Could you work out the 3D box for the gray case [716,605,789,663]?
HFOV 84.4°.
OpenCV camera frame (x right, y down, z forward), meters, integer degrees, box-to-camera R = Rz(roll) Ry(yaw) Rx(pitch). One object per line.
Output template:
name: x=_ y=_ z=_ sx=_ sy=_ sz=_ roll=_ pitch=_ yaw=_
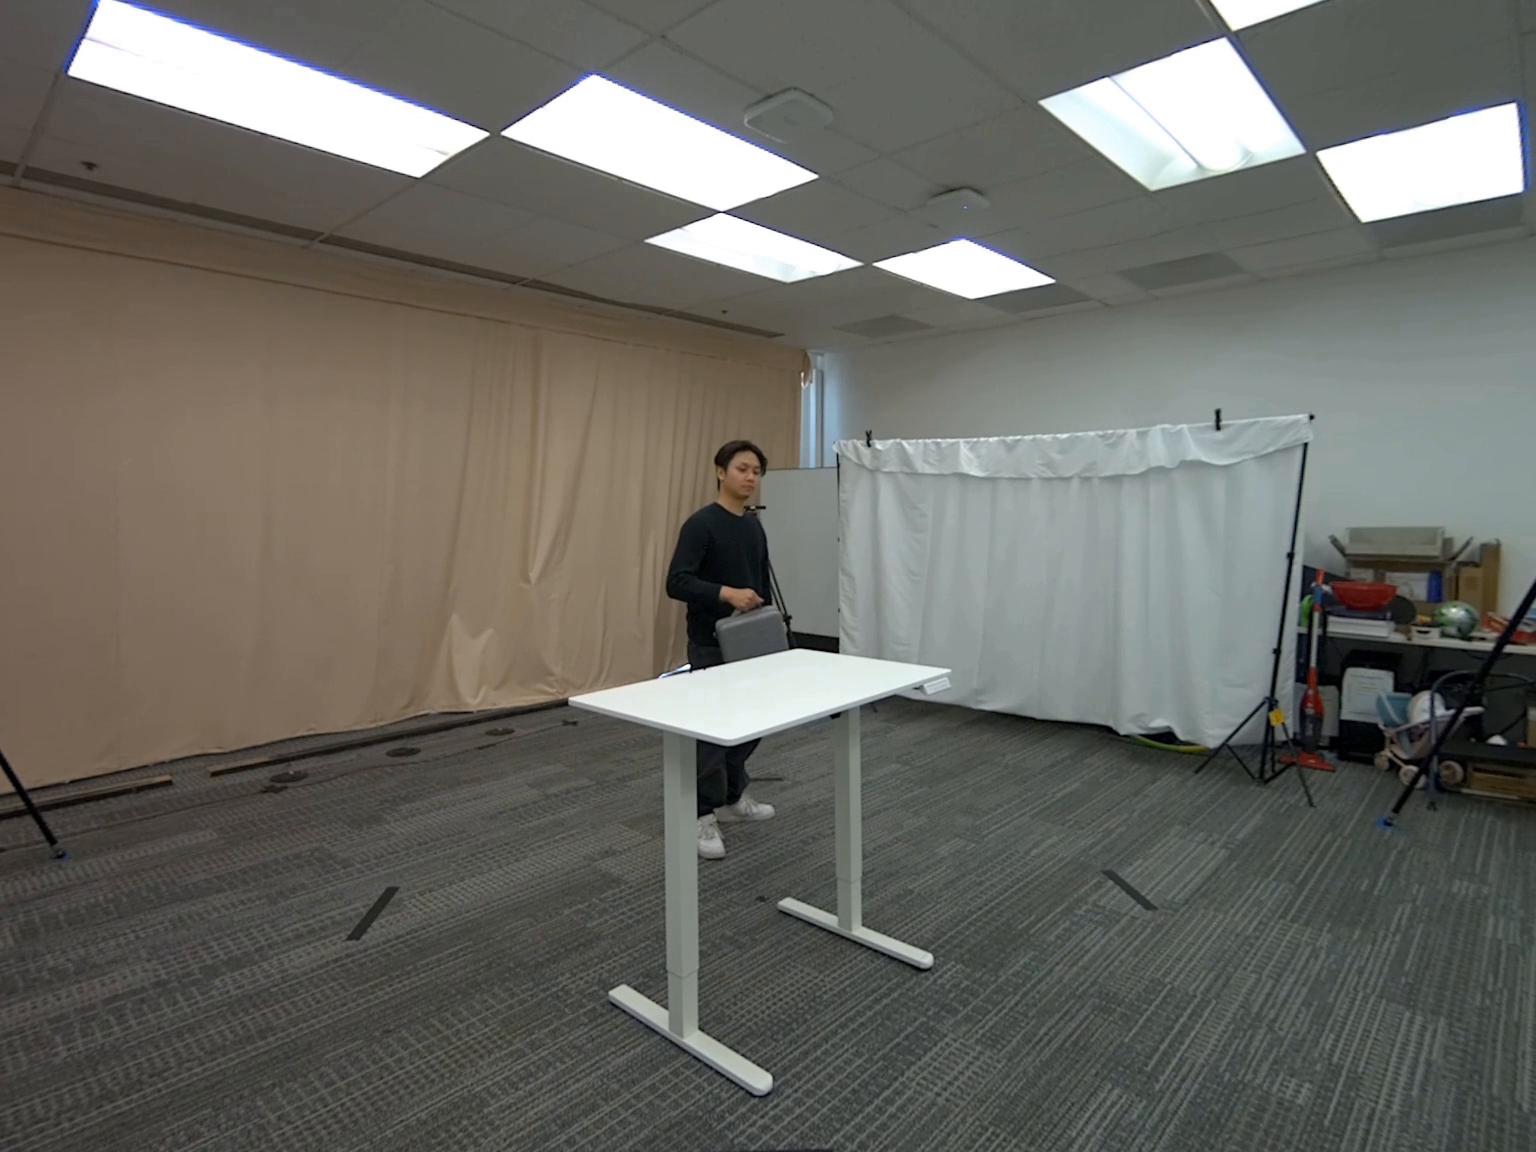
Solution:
gray case: x=-0.055 y=0.262 z=3.237 sx=0.255 sy=0.257 sz=0.106 roll=-14 pitch=15 yaw=-8
